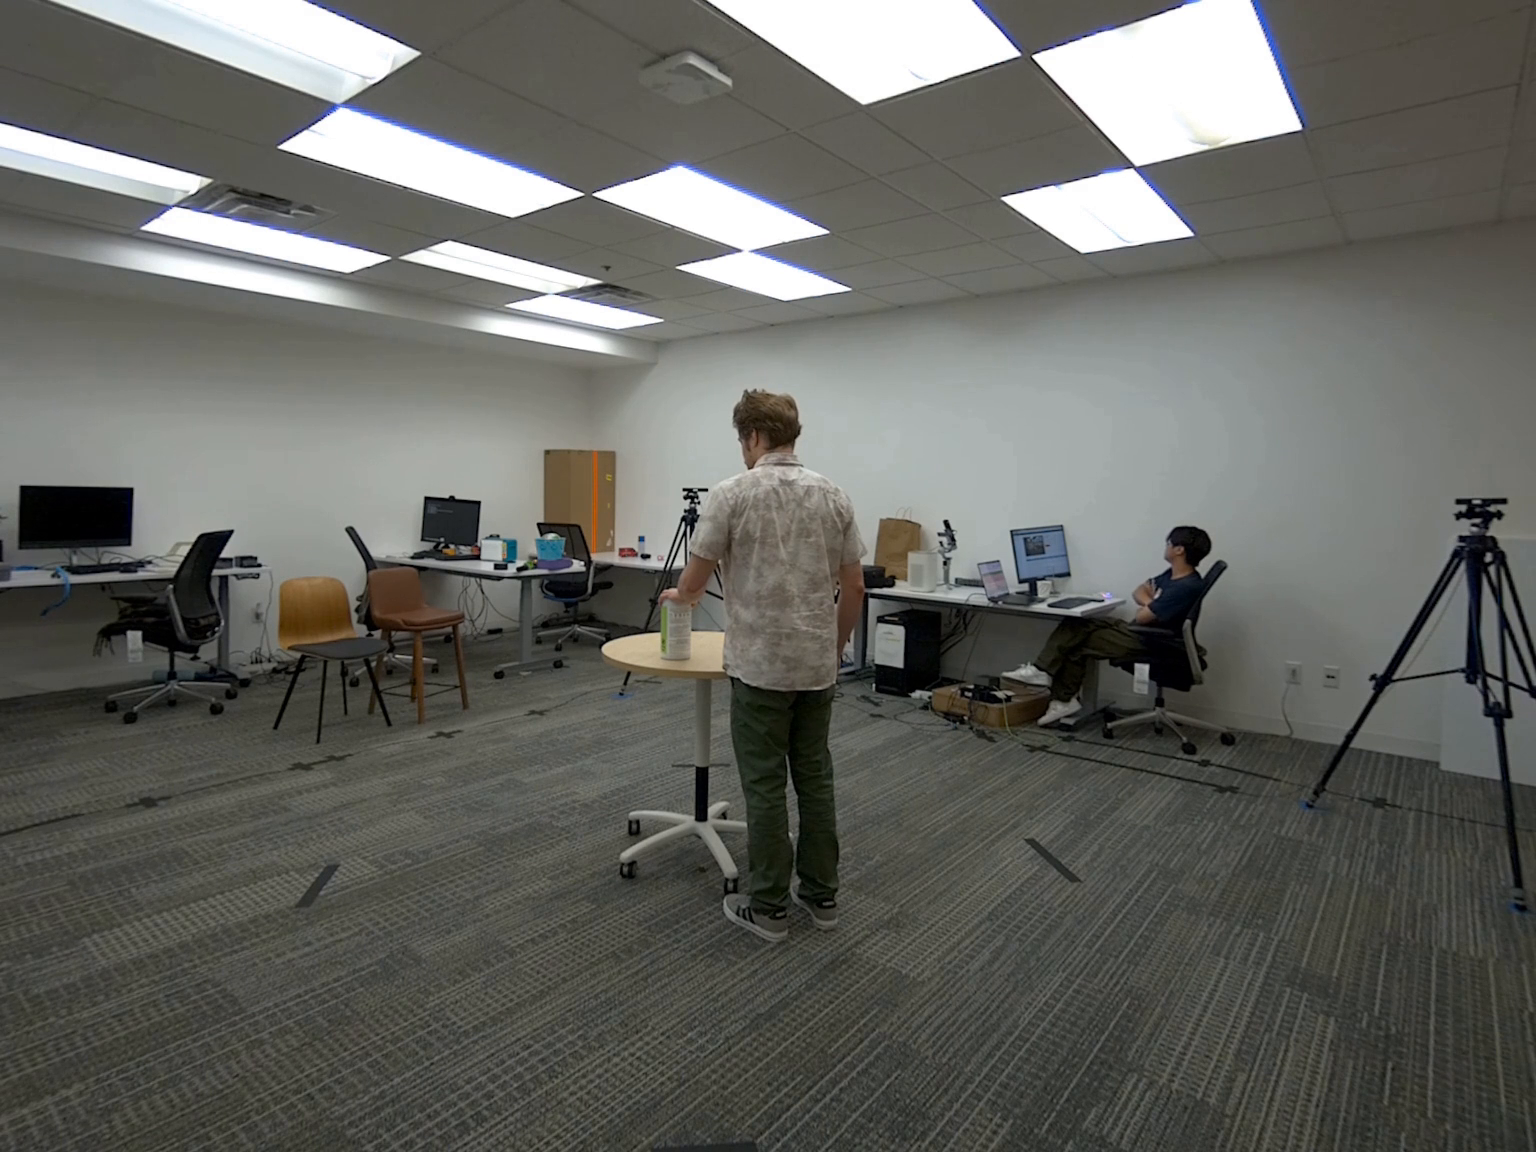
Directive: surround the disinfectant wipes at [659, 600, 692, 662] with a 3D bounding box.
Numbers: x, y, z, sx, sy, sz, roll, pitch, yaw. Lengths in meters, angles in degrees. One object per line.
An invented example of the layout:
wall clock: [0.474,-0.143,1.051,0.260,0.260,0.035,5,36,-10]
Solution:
disinfectant wipes: [-0.334,0.181,3.011,0.118,0.217,0.118,0,4,-2]
